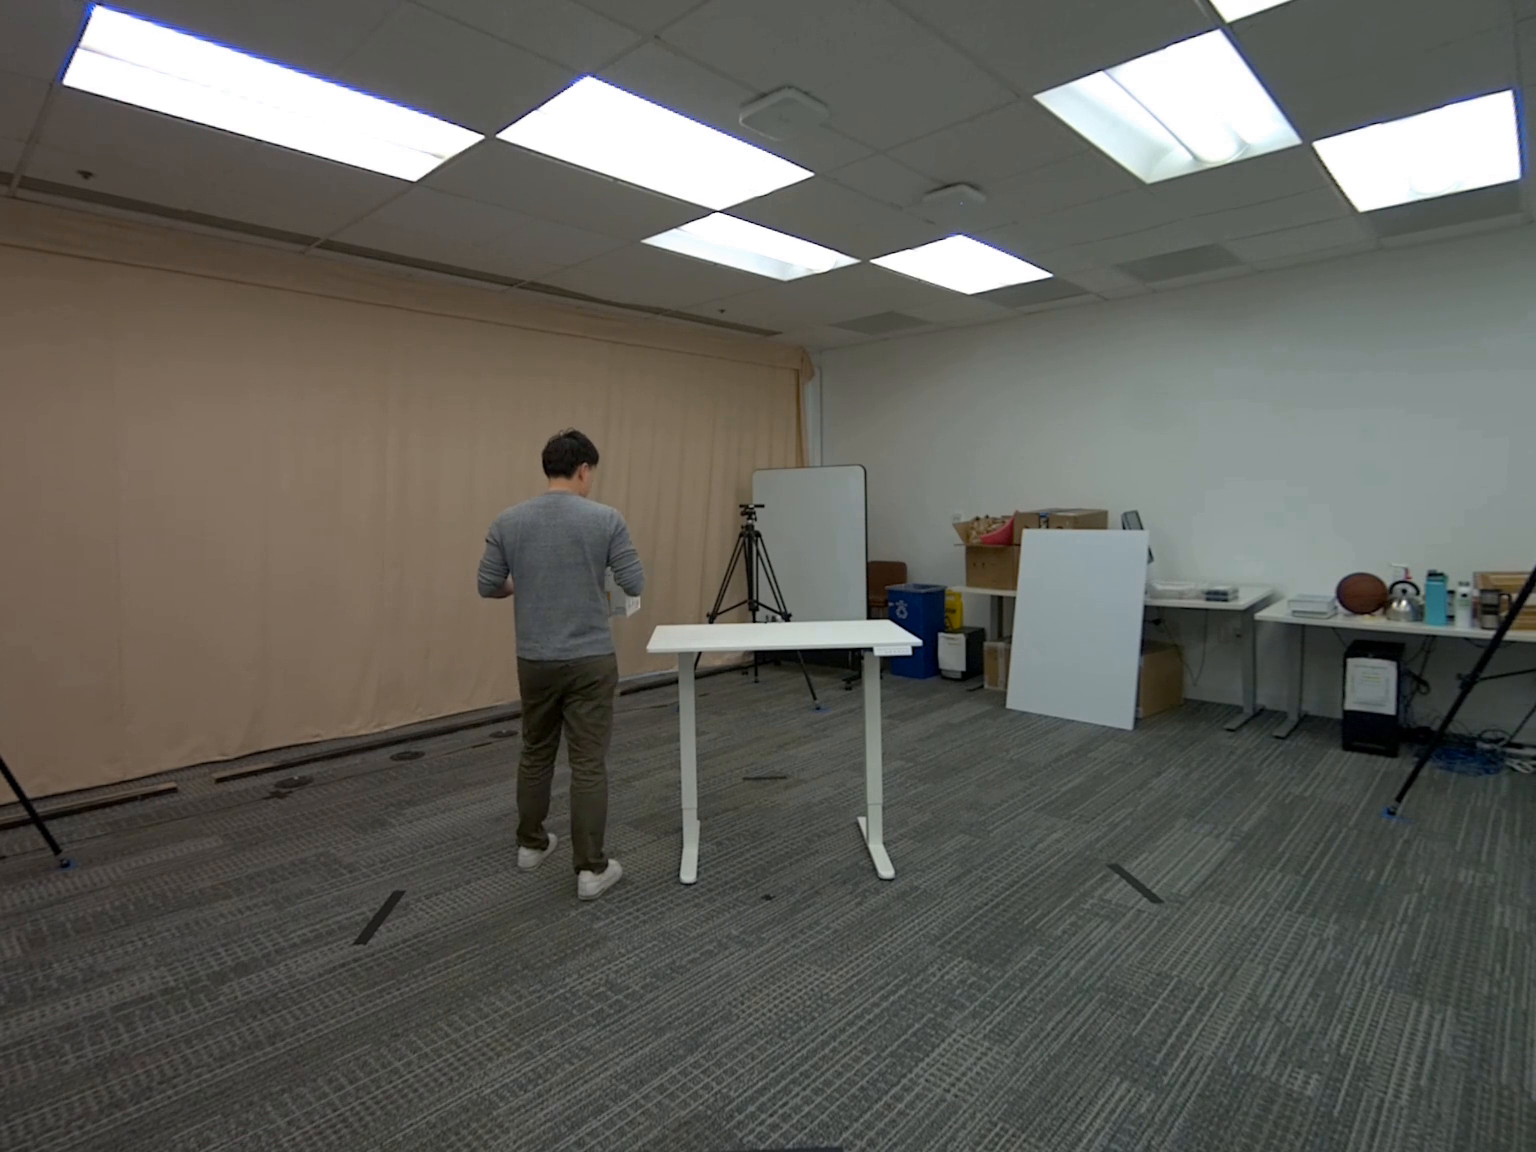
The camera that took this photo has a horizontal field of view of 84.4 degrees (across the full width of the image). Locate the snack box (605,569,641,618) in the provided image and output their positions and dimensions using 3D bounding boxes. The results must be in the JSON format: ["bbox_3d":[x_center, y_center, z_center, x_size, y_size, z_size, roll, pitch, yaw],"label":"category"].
[{"bbox_3d":[-0.765,0.057,3.499,0.406,0.205,0.340,-1,3,2],"label":"snack box"}]
